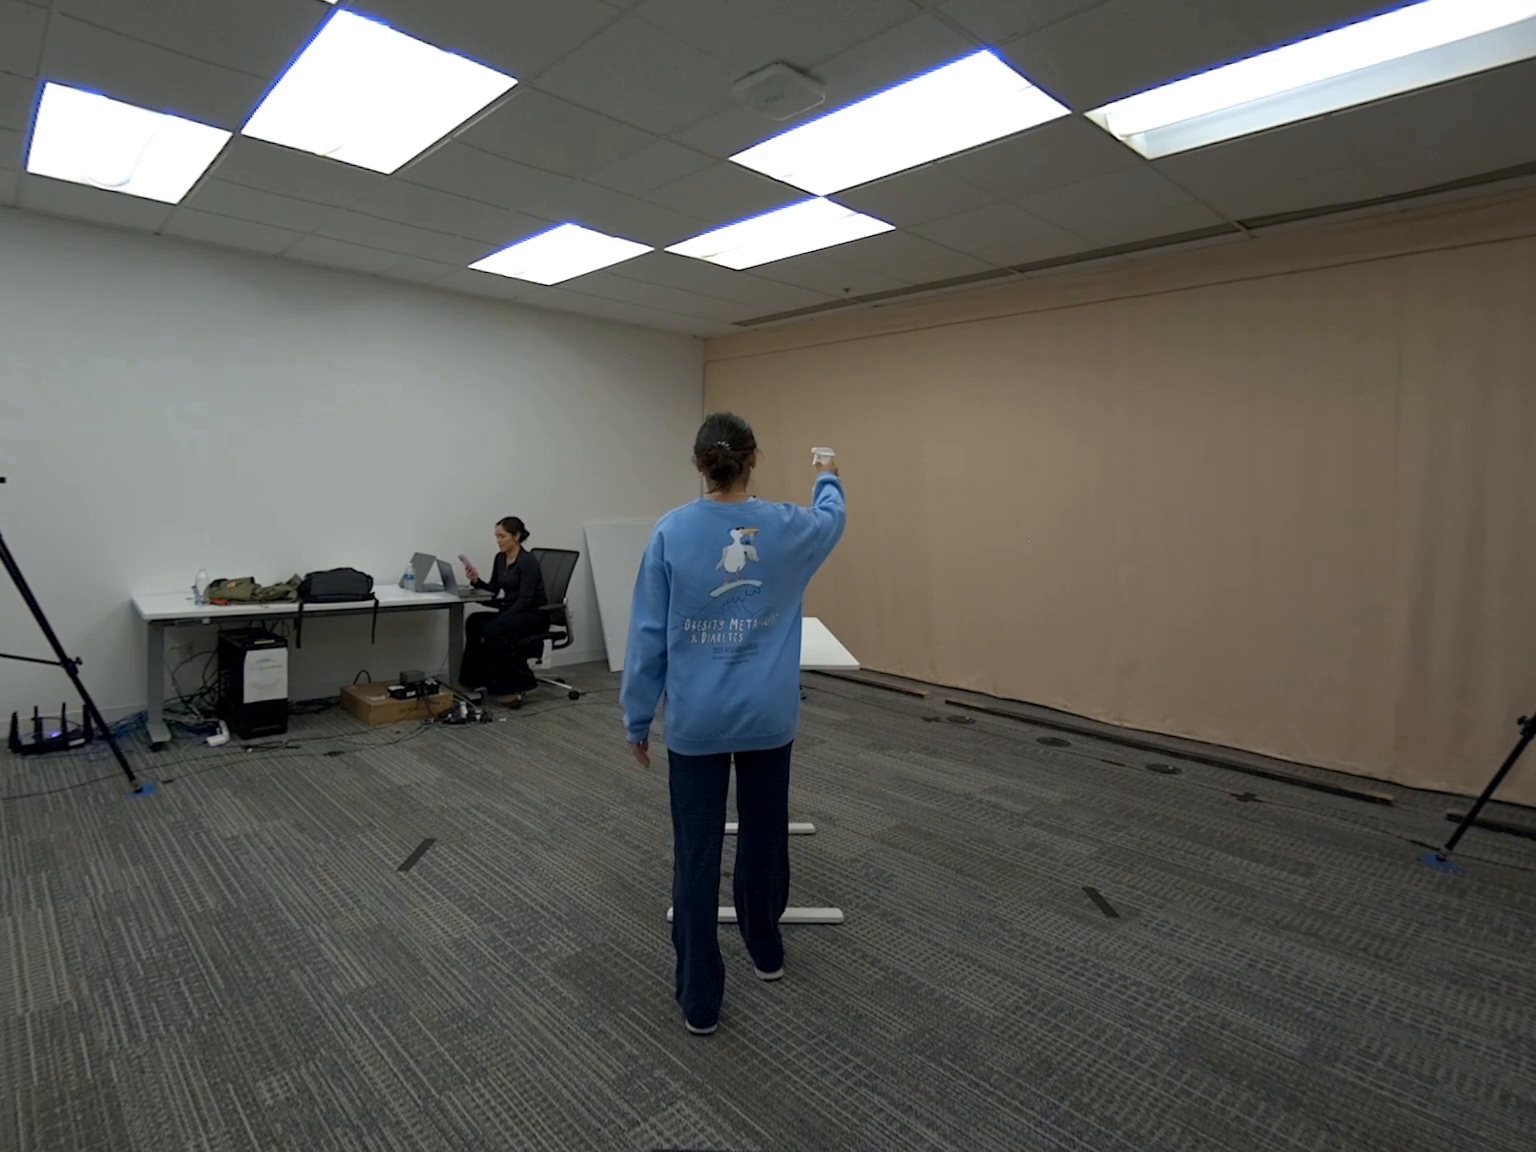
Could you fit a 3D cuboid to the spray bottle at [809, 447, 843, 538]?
[{"bbox_3d":[0.195,-0.284,2.867,0.090,0.295,0.088,-3,8,-3],"label":"spray bottle"}]
